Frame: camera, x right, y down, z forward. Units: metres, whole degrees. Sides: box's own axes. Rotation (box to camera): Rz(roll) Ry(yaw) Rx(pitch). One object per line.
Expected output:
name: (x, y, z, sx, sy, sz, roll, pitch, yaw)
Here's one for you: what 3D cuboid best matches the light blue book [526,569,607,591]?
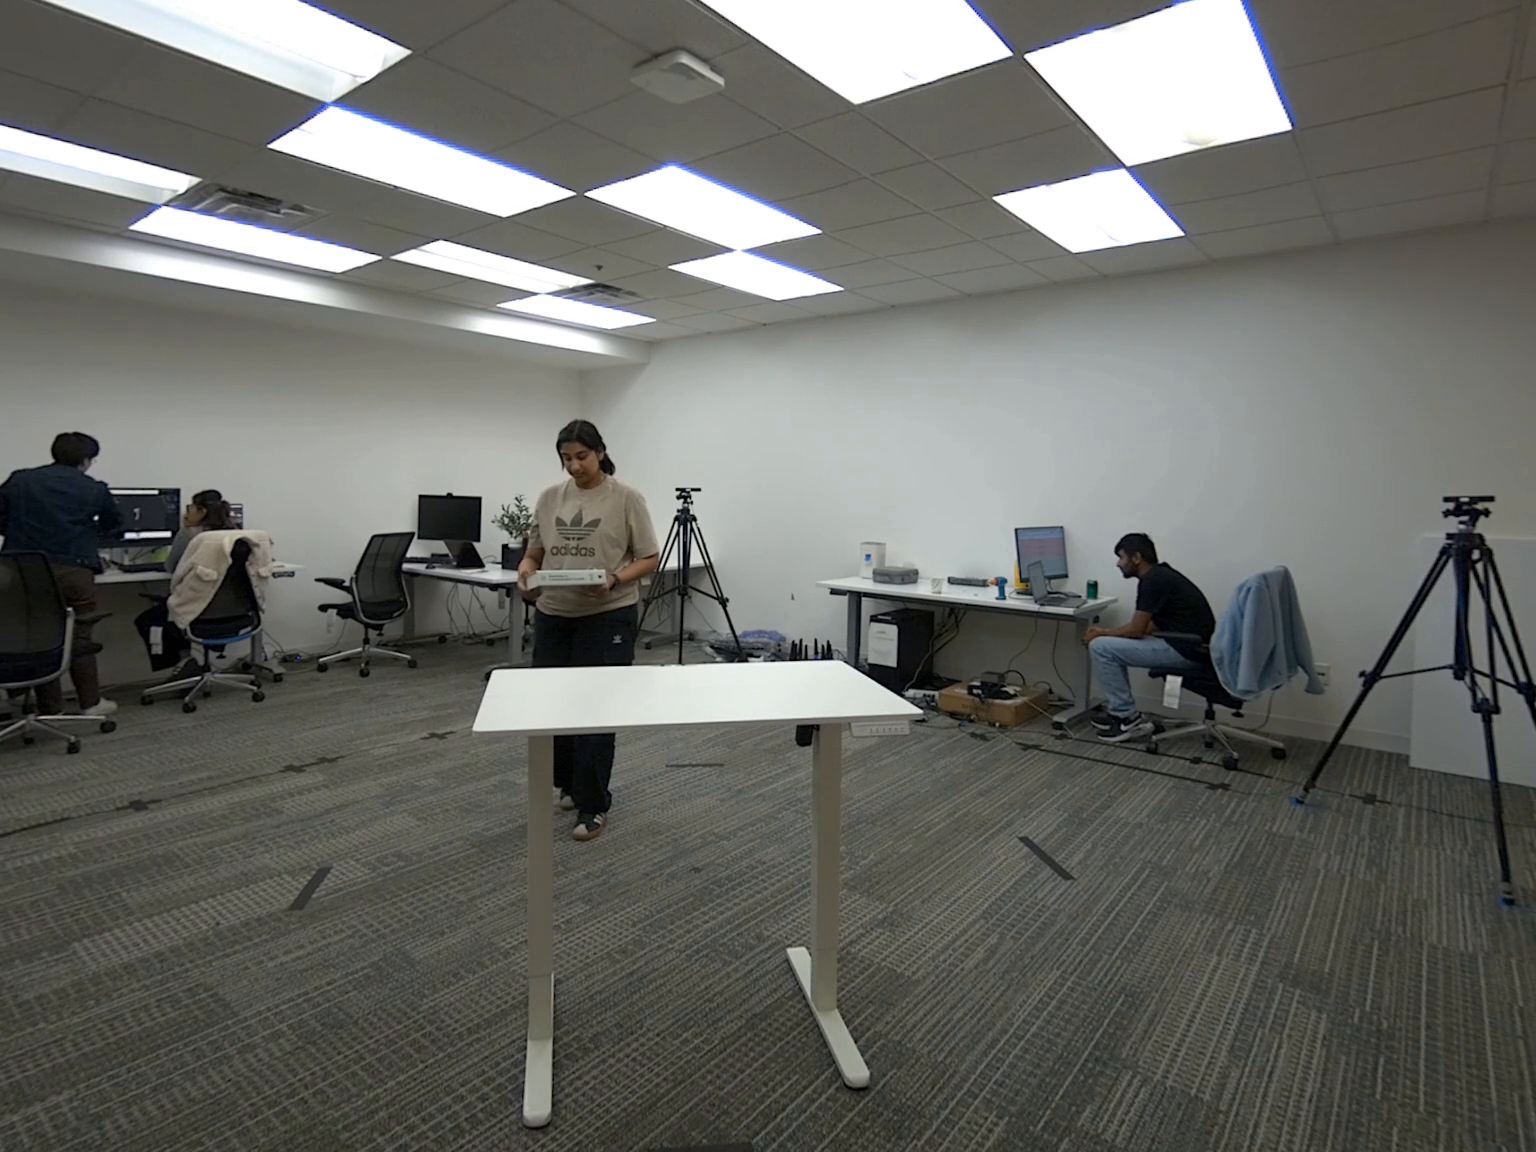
light blue book: (-0.793, 0.010, 3.235, 0.255, 0.059, 0.195, -1, -3, -24)
